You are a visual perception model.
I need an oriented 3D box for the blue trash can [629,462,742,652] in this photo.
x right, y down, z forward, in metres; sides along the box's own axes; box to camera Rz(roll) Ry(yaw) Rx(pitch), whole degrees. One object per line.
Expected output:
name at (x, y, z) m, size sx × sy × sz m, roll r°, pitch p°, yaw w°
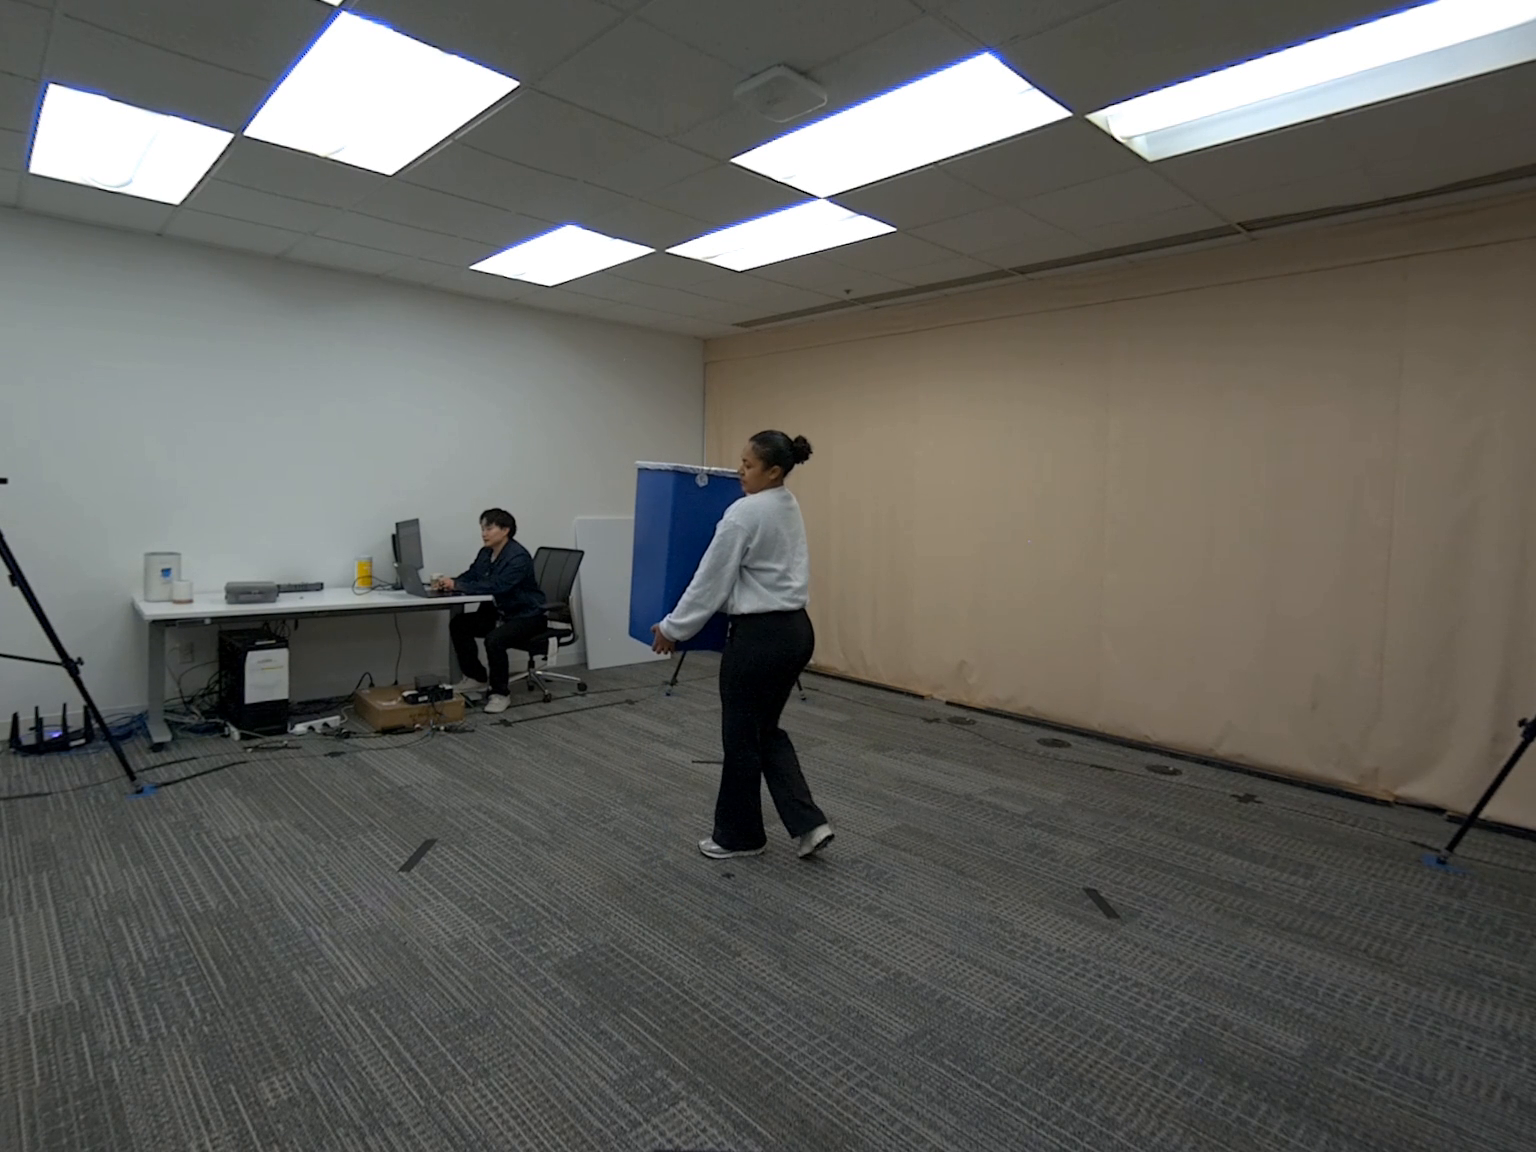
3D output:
blue trash can at (-0.343, -0.086, 3.409) m, size 0.366 × 0.711 × 0.387 m, roll 3°, pitch 5°, yaw -31°
